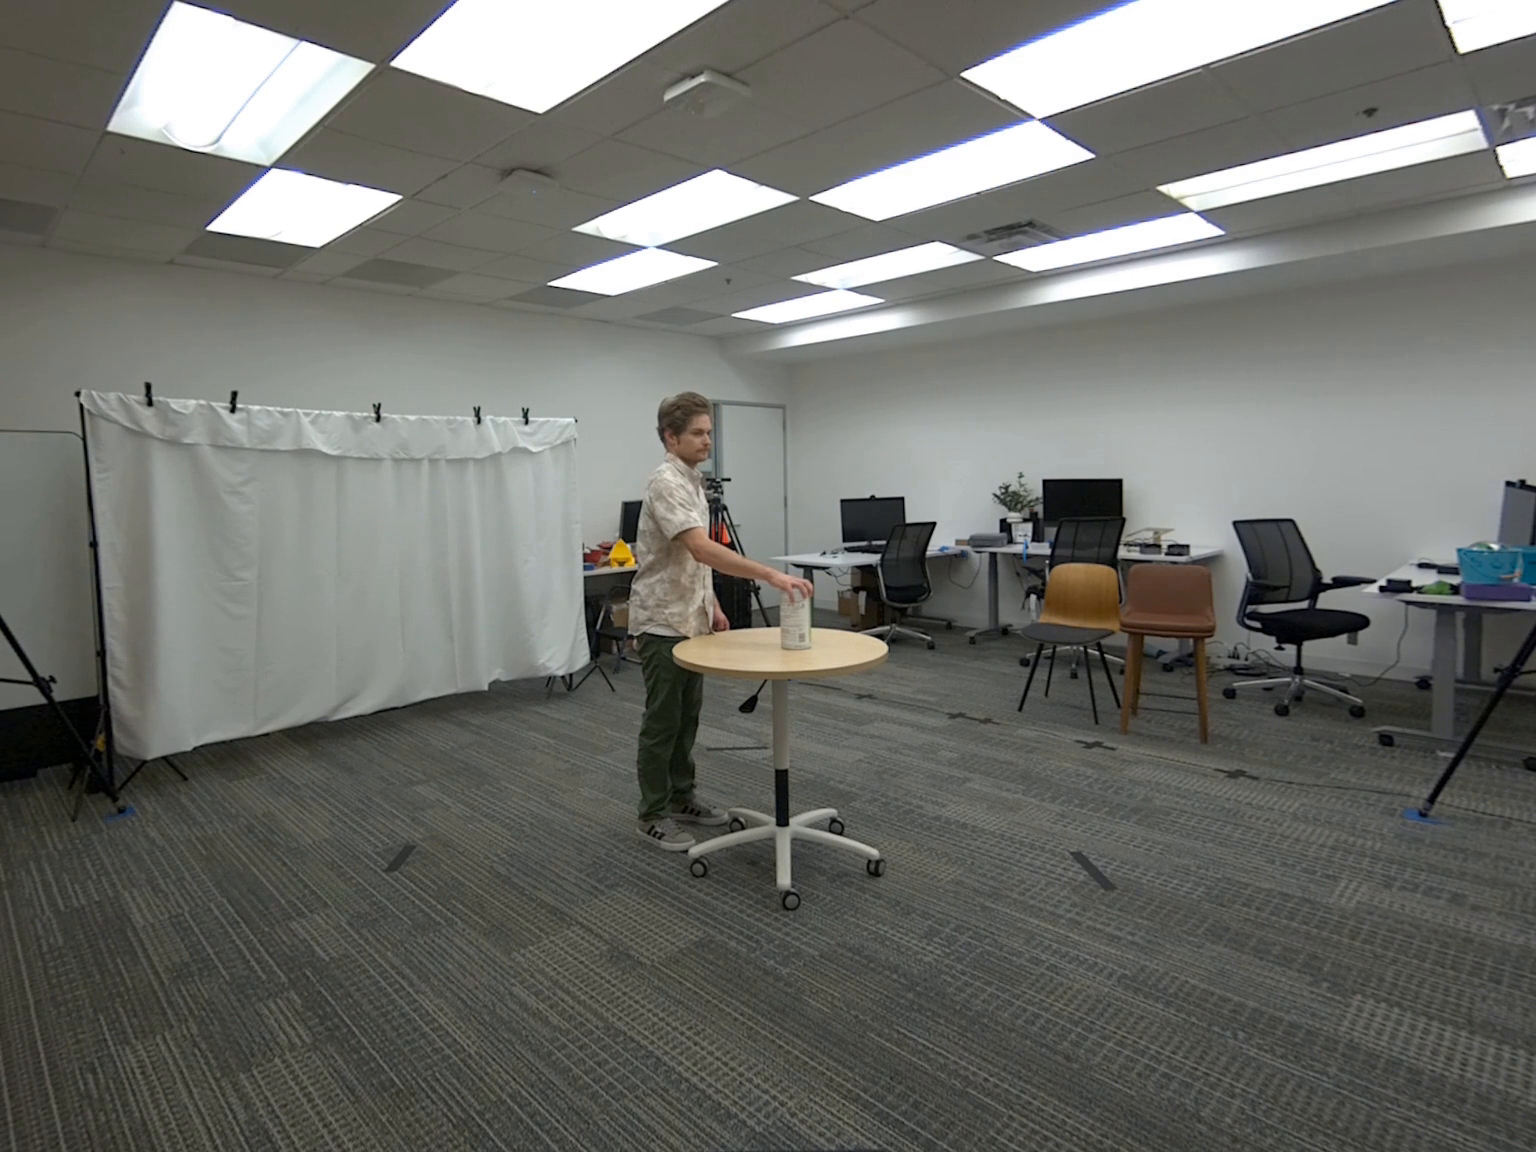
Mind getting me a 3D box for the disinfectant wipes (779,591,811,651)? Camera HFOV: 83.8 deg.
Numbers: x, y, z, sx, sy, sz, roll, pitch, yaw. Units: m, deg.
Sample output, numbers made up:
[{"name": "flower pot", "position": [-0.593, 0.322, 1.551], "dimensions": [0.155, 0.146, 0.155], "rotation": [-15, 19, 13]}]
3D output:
[{"name": "disinfectant wipes", "position": [0.100, 0.149, 3.032], "dimensions": [0.118, 0.216, 0.118], "rotation": [-1, 5, -2]}]
